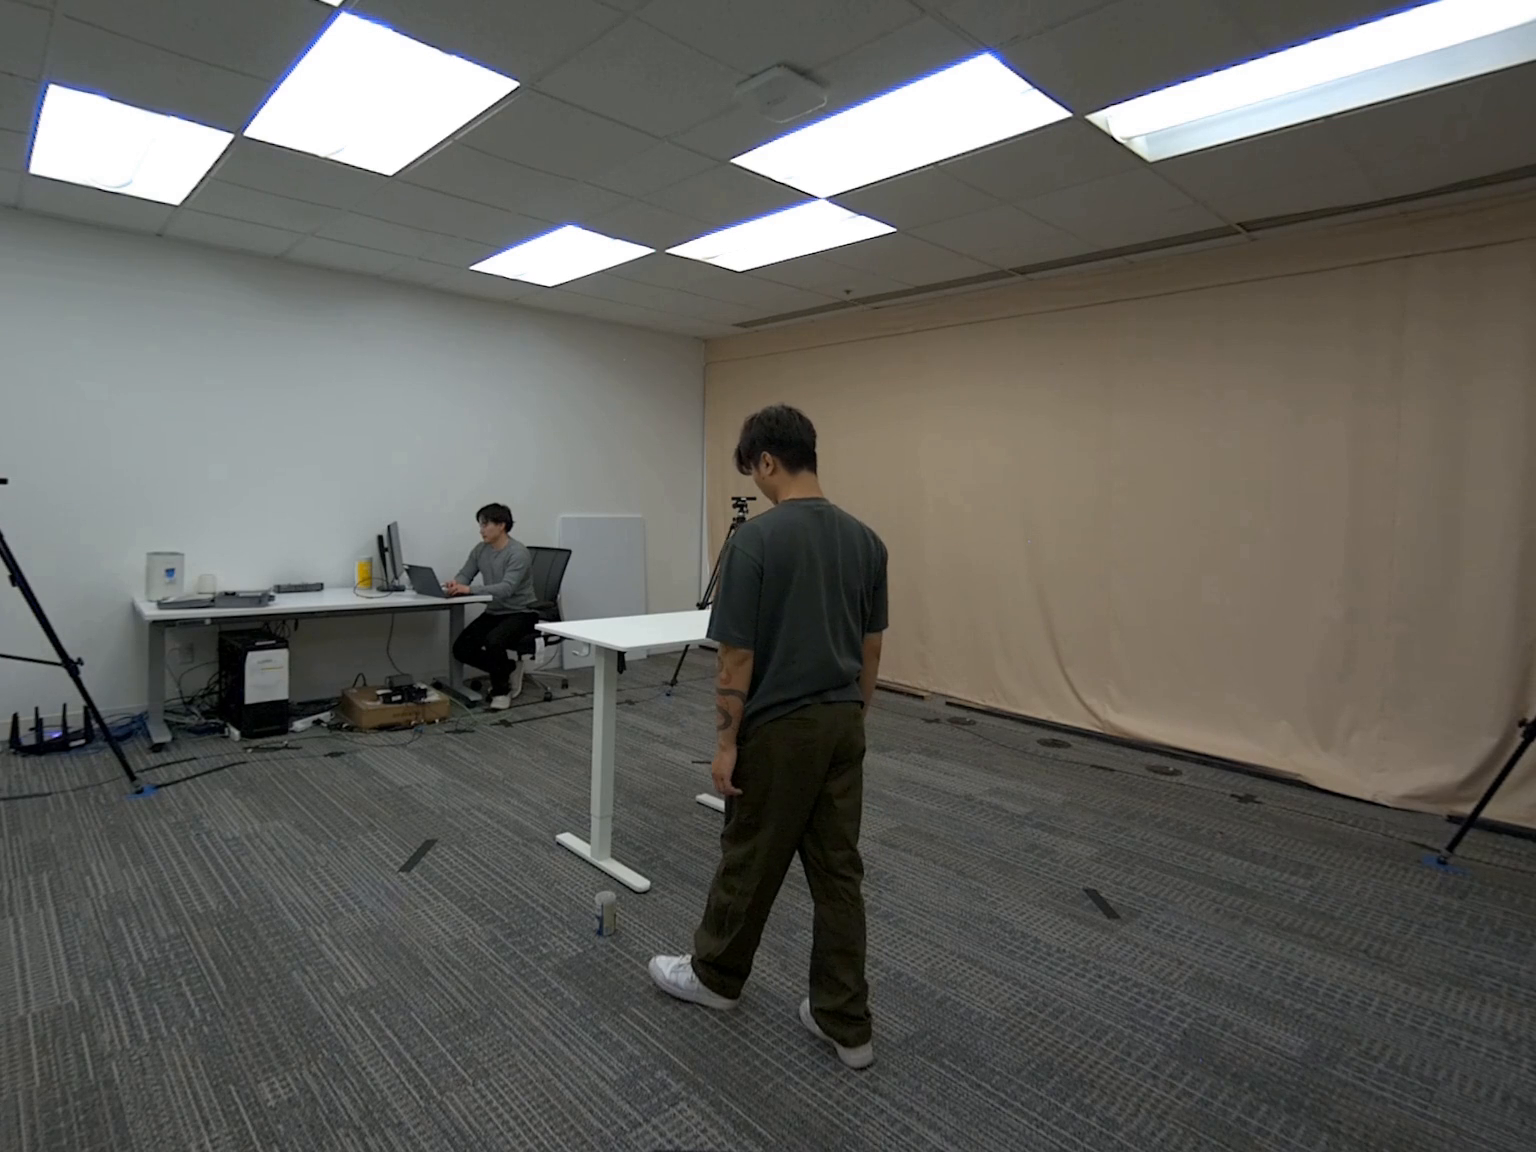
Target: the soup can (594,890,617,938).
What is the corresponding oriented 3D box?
[{"bbox_3d":[-0.529,1.081,2.674,0.067,0.121,0.067,-1,2,-1],"label":"soup can"}]
